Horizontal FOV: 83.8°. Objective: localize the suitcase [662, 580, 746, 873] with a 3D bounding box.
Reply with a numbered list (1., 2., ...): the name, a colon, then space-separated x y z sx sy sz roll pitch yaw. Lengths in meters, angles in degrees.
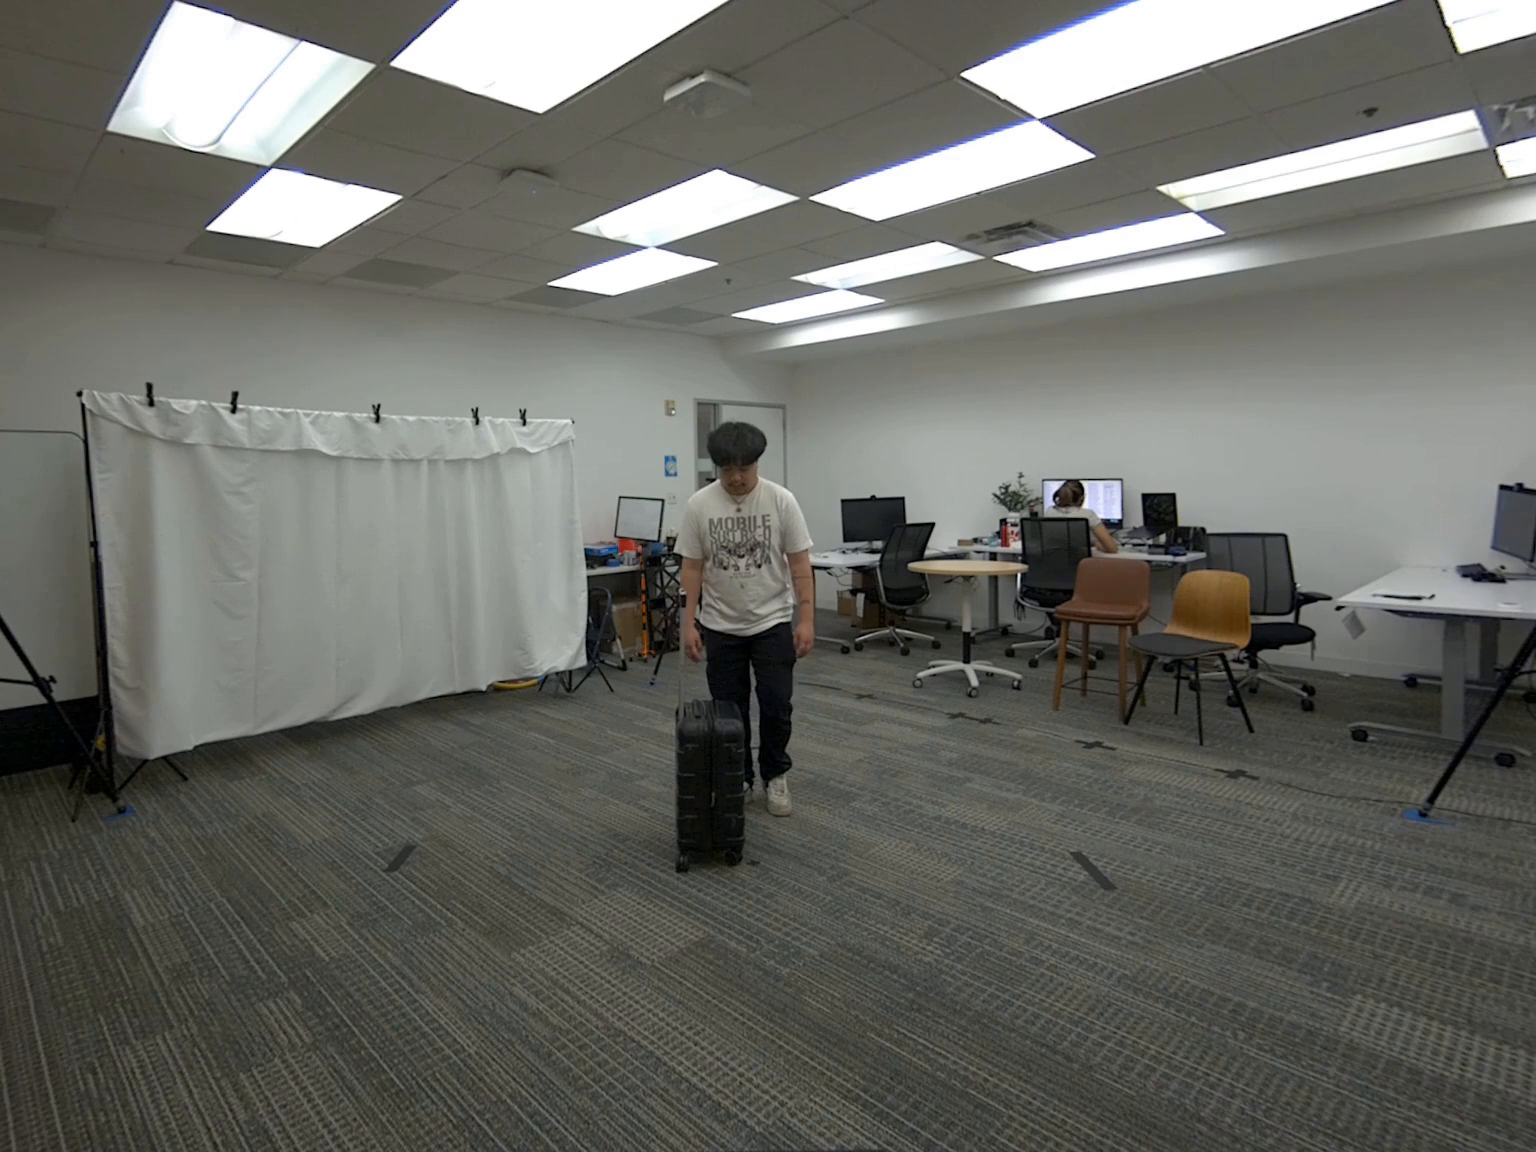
1. suitcase: -0.219 0.561 3.200 0.256 0.975 0.387 2 4 -6
